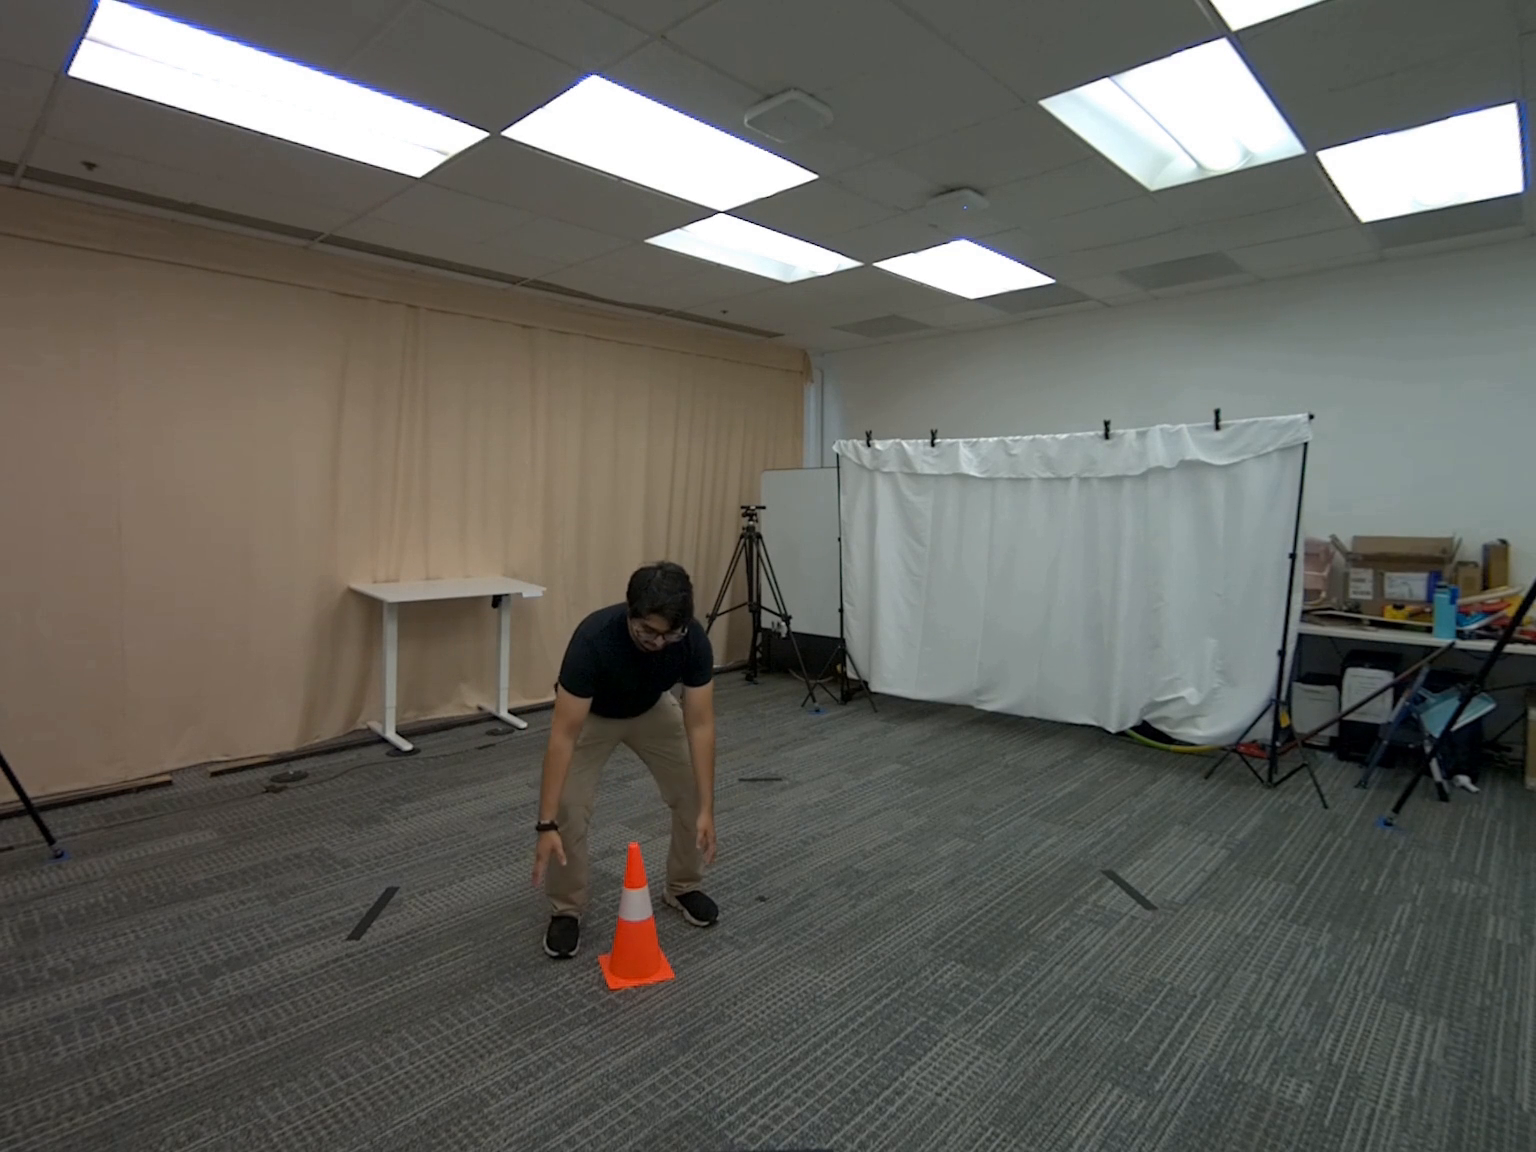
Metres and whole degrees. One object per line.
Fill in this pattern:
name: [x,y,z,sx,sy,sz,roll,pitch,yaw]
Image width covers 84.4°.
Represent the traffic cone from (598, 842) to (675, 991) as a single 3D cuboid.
traffic cone: [-0.393,0.999,2.533,0.202,0.383,0.207,1,4,-15]
